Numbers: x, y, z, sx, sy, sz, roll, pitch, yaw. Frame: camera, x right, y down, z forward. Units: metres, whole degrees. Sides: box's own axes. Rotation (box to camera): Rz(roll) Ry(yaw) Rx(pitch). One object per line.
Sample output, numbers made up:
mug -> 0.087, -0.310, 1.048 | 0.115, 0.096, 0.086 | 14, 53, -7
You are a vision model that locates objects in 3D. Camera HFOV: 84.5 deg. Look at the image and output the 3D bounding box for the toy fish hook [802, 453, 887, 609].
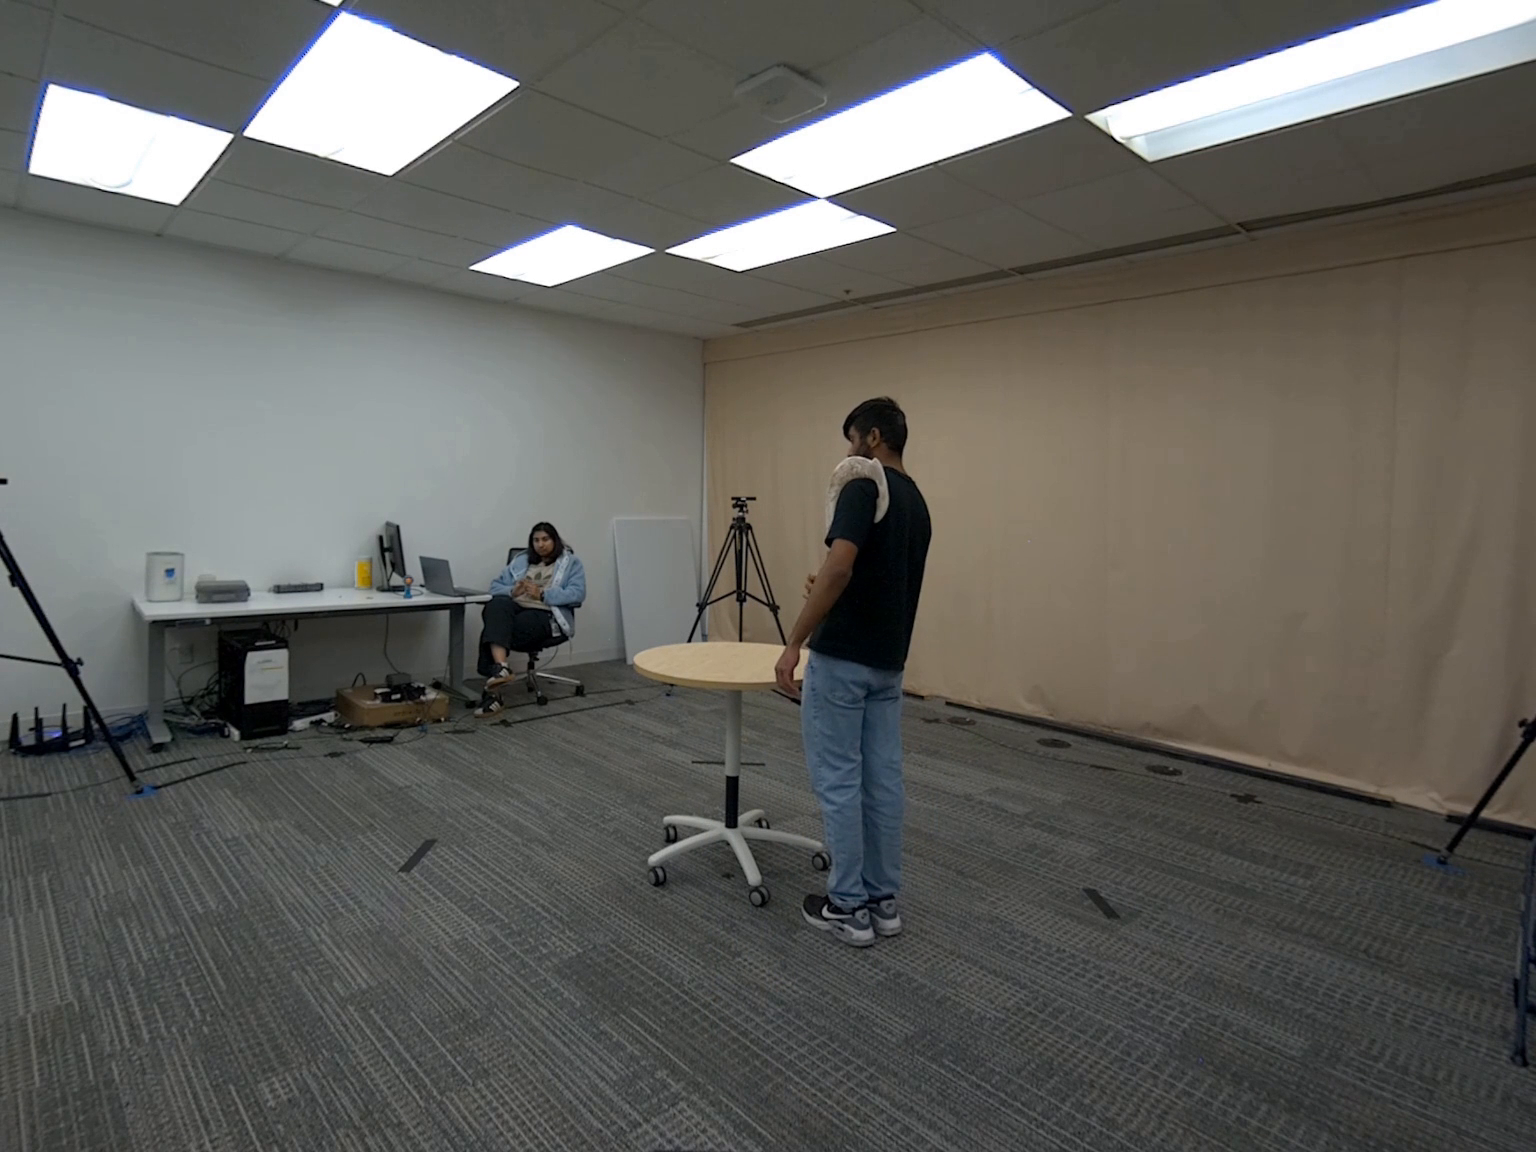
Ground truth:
toy fish hook -> 0.256, -0.118, 2.606 | 0.231, 0.506, 0.047 | 12, 0, 43
